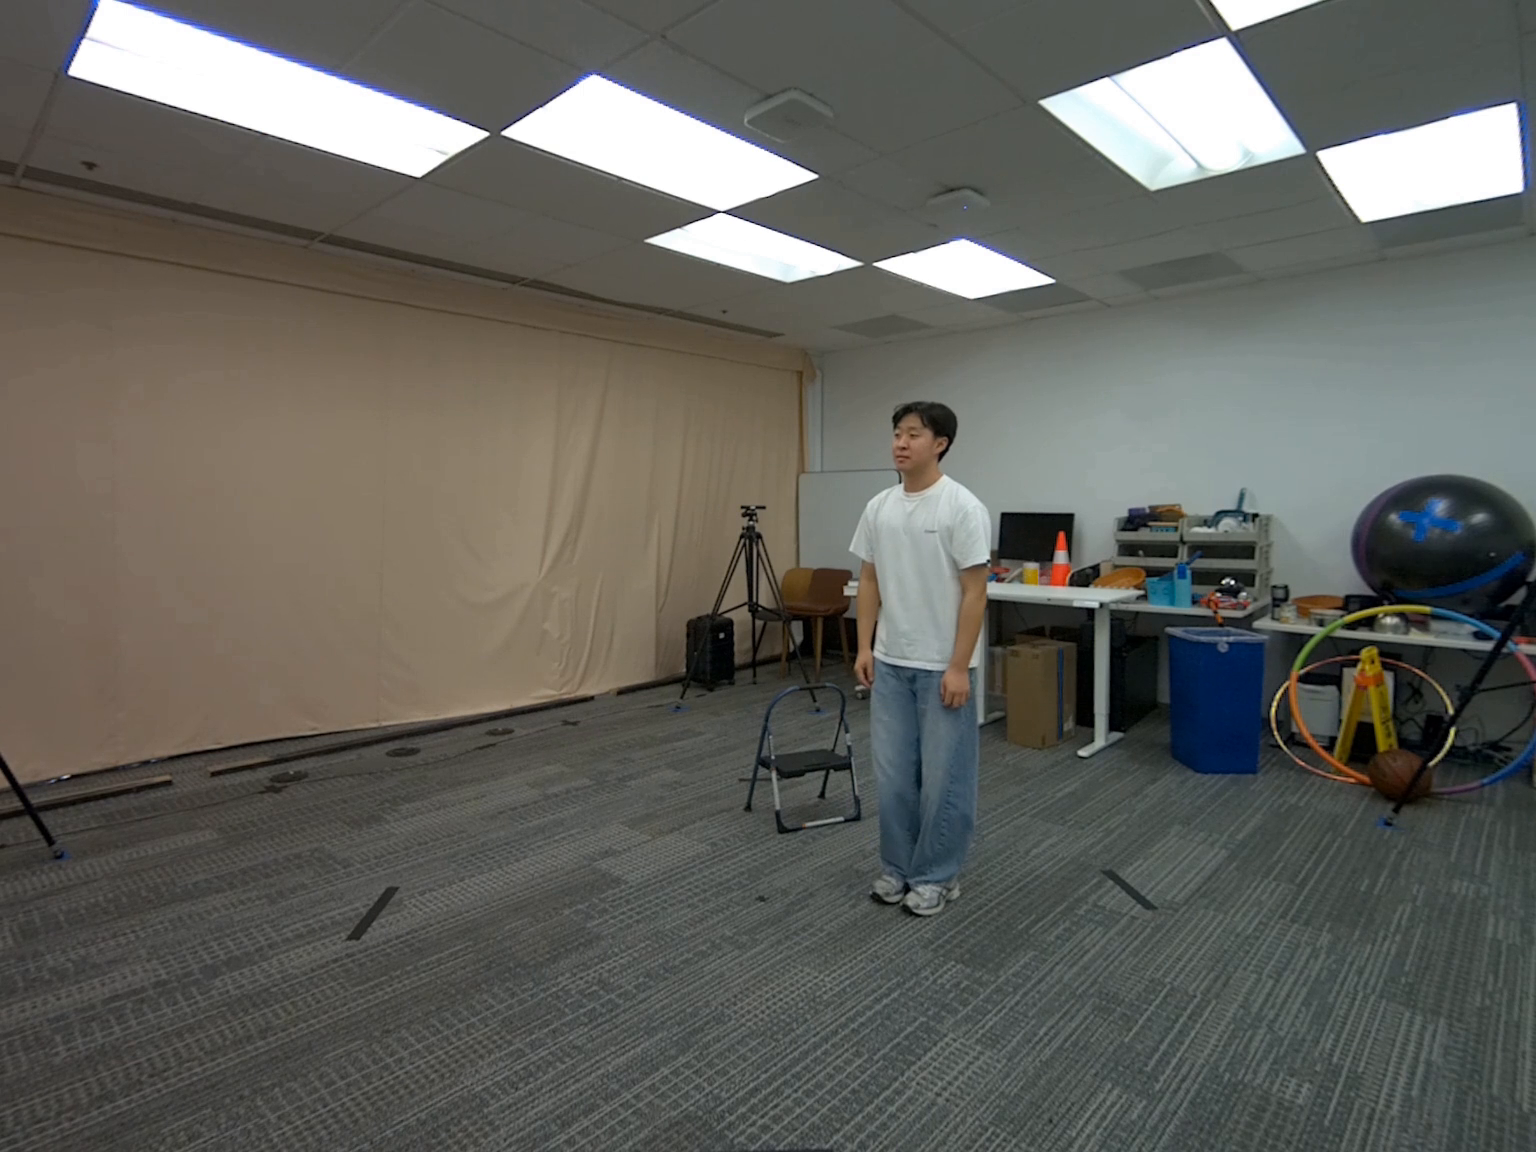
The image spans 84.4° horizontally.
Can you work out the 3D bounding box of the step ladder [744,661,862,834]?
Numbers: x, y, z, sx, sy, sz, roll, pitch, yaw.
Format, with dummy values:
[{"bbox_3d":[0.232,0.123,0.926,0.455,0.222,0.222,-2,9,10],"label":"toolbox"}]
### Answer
[{"bbox_3d":[0.150,0.771,3.789,0.420,0.604,0.359,-3,4,-26],"label":"step ladder"}]
